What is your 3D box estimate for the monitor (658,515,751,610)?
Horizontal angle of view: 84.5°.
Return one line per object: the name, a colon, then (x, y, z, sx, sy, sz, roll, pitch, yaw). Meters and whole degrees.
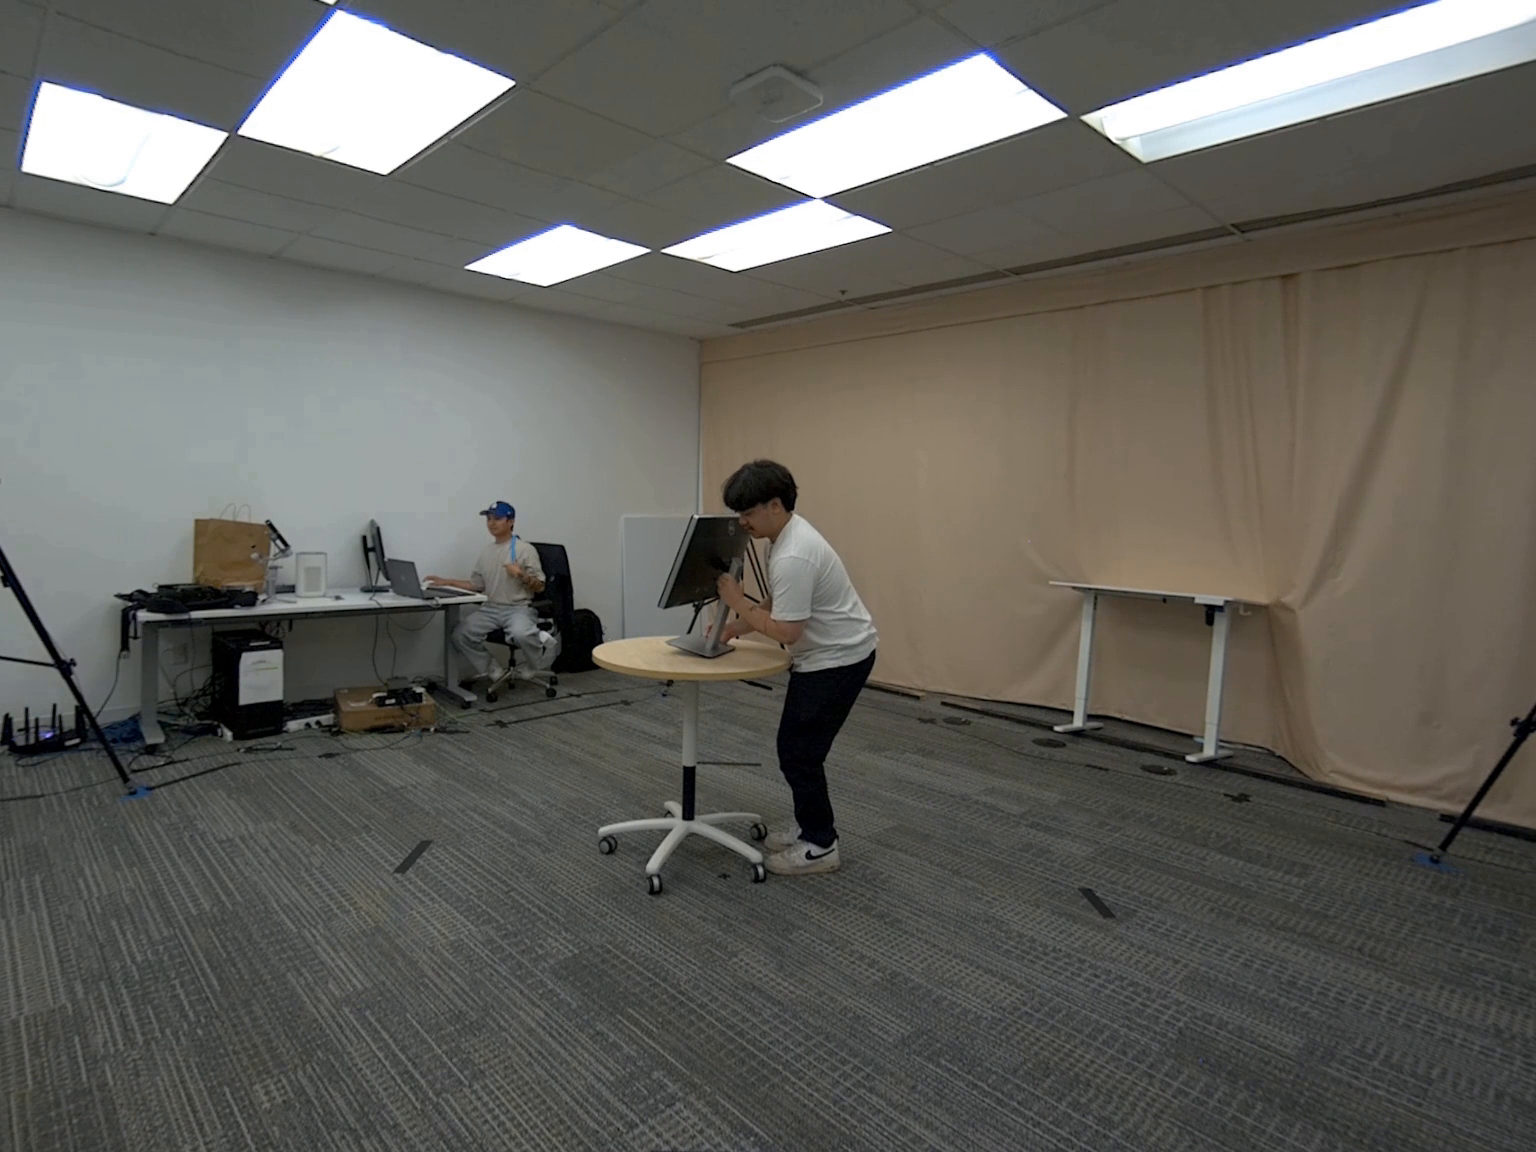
monitor: (-0.184, 0.039, 3.222, 0.214, 0.551, 0.557, 20, 11, 20)
